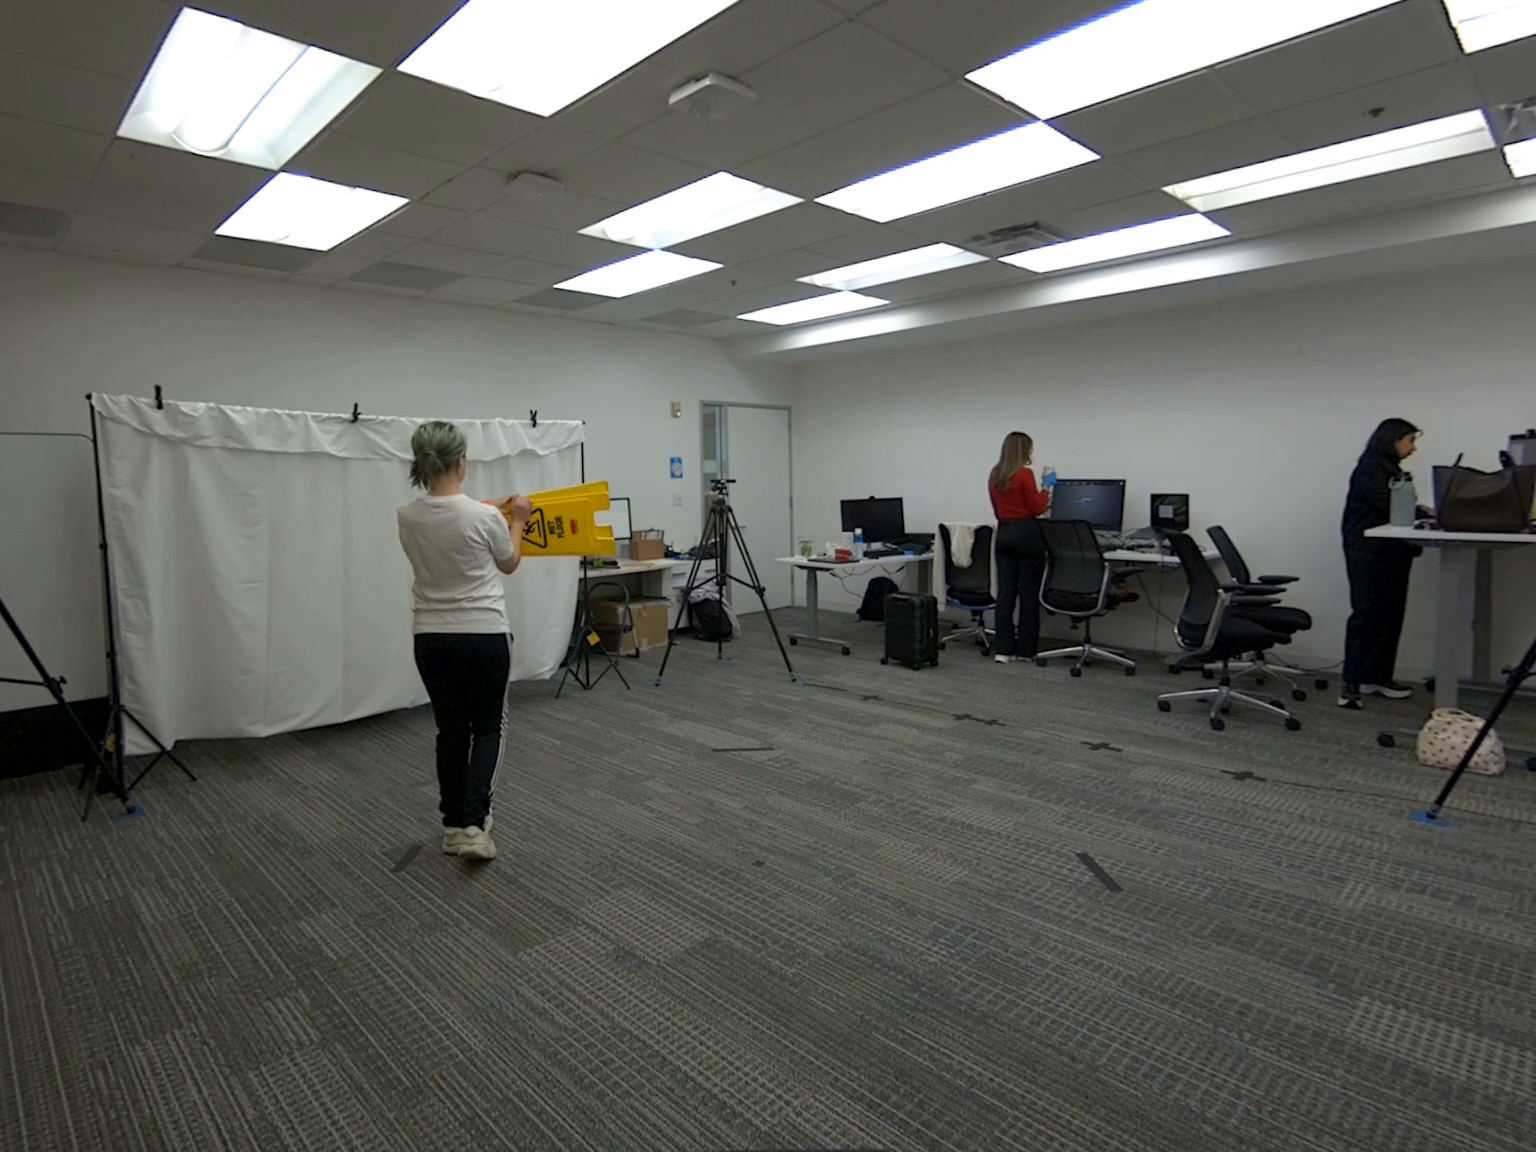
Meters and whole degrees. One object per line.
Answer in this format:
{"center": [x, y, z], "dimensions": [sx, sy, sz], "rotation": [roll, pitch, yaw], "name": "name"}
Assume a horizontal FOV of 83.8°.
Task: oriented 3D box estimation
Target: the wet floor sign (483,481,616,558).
{"center": [-0.991, -0.209, 3.617], "dimensions": [0.642, 0.278, 0.296], "rotation": [-6, 17, -8], "name": "wet floor sign"}
